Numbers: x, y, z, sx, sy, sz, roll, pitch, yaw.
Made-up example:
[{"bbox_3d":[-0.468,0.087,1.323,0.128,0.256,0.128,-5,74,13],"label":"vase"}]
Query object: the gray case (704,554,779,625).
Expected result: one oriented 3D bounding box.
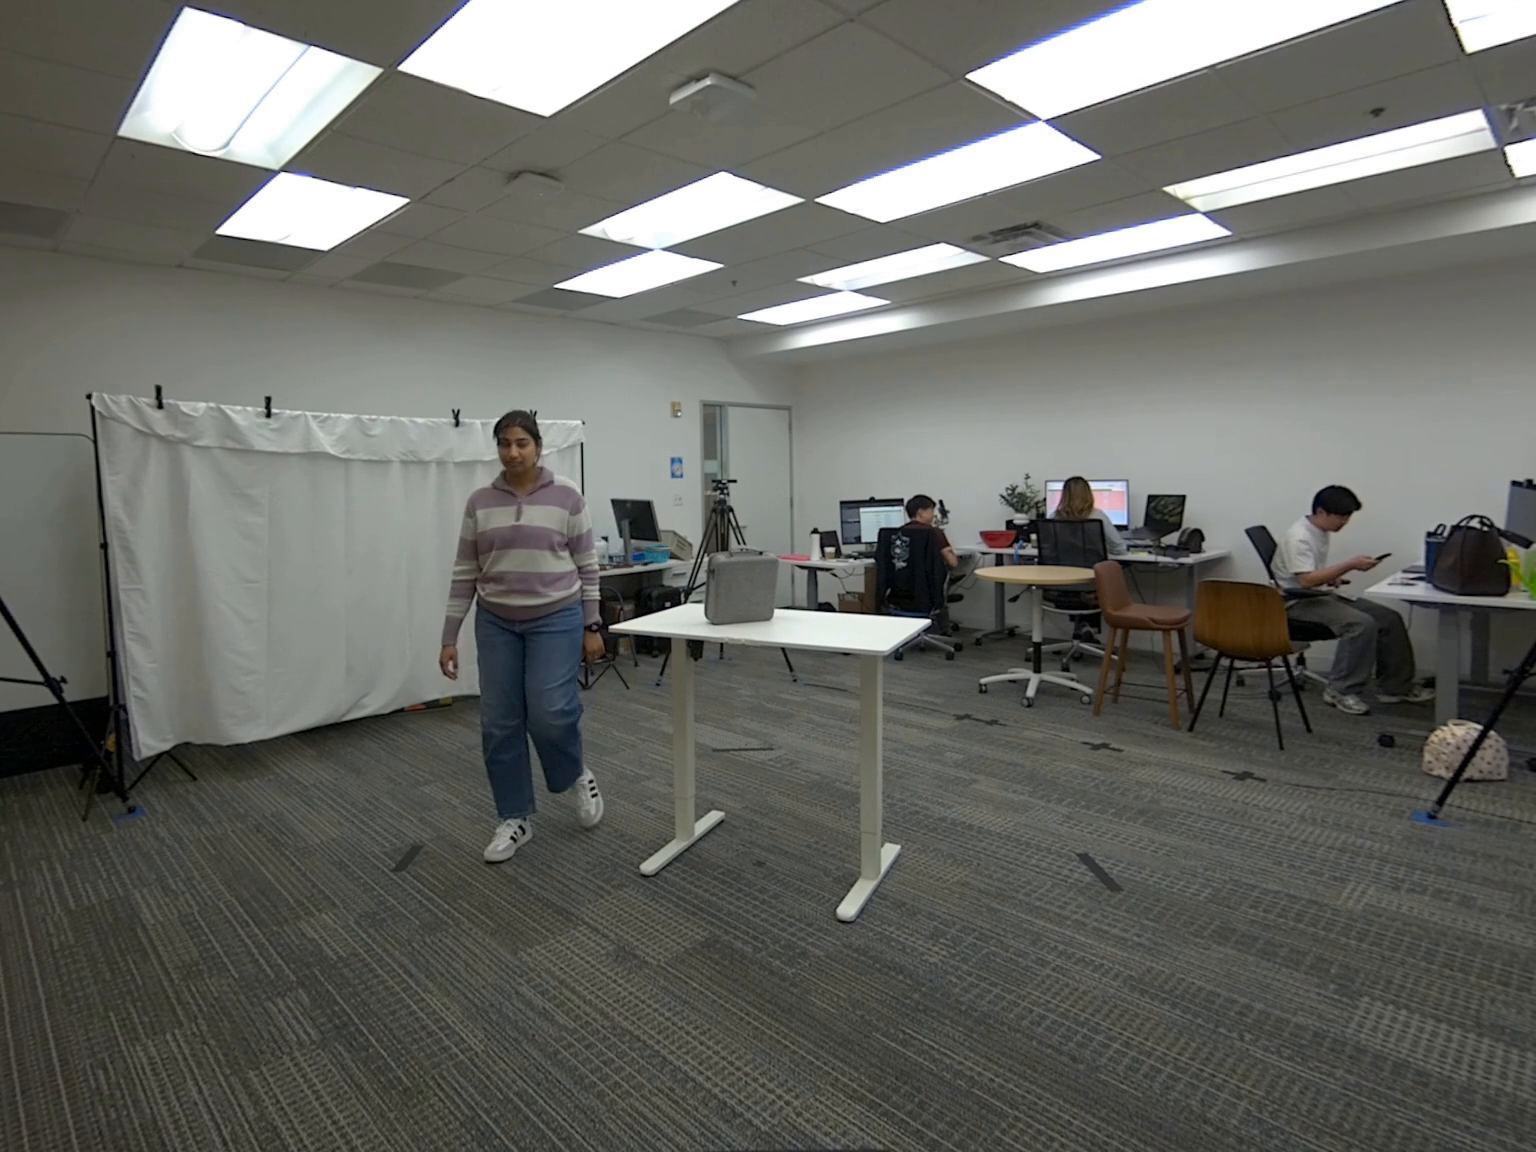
[{"bbox_3d":[-0.093,0.036,3.072,0.252,0.257,0.107,-3,15,-21],"label":"gray case"}]
